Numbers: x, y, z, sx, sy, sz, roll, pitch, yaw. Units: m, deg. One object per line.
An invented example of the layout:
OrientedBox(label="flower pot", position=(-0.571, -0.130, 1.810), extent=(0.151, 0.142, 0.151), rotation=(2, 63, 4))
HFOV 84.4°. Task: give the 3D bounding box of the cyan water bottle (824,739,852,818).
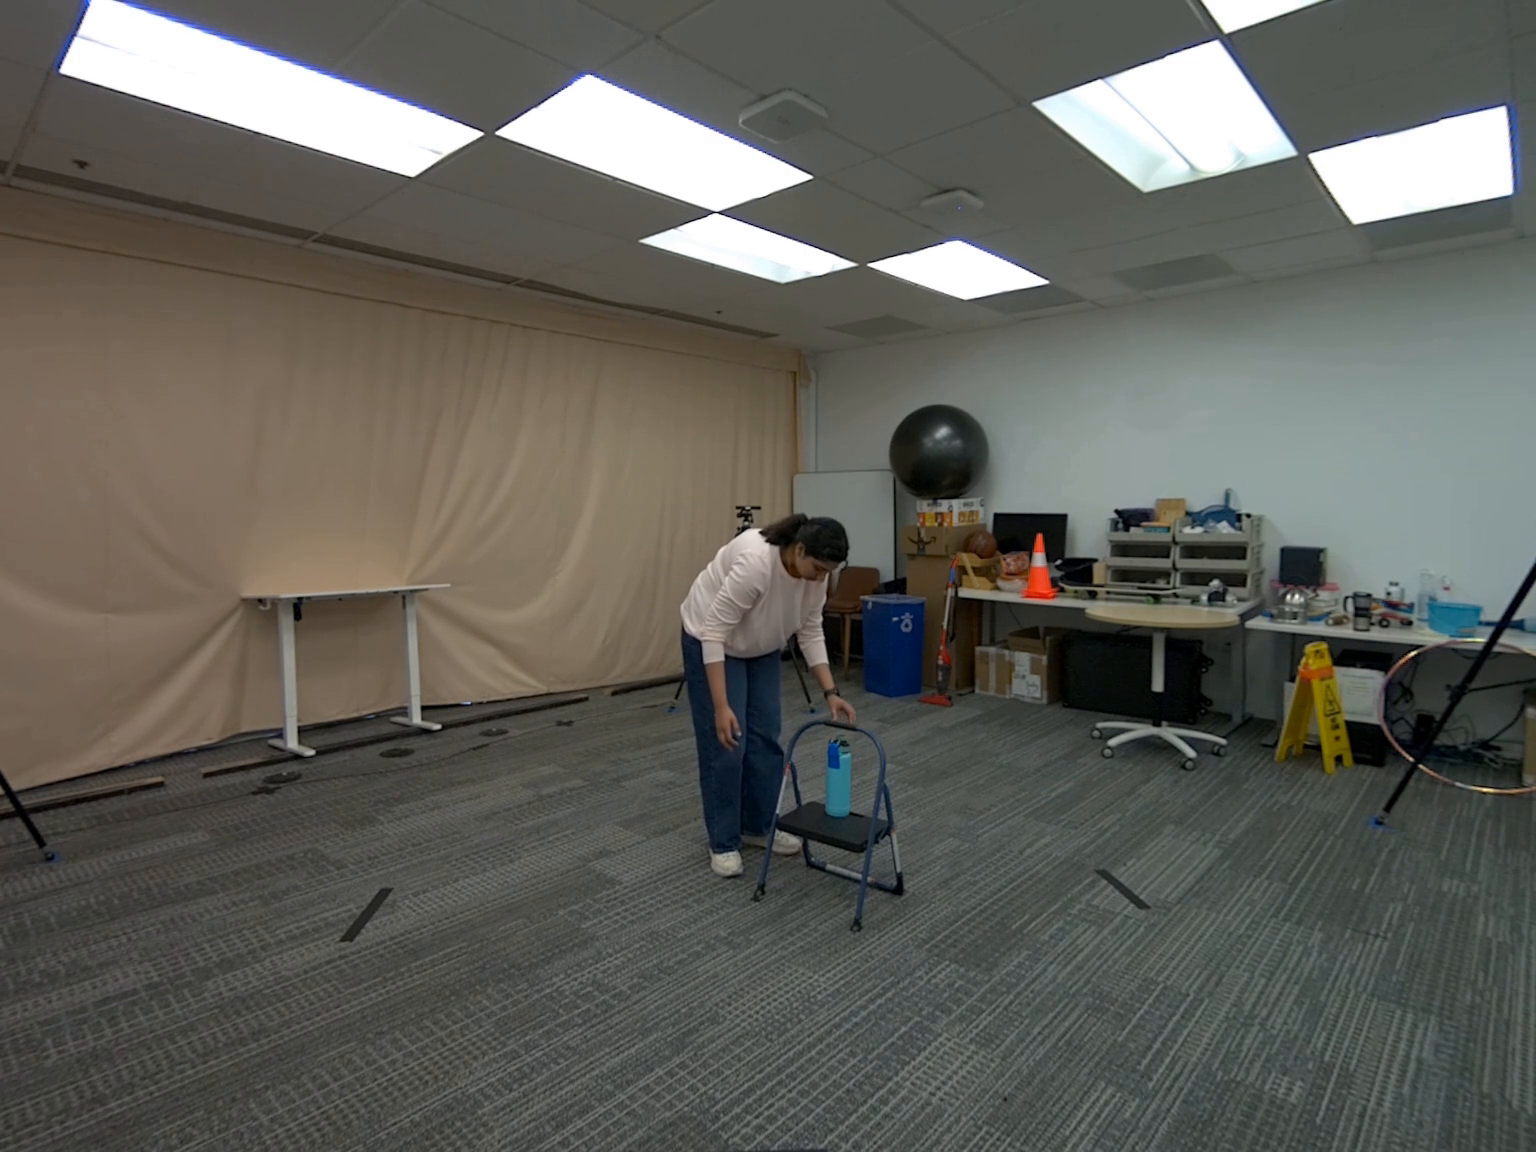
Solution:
OrientedBox(label="cyan water bottle", position=(0.260, 0.736, 3.086), extent=(0.092, 0.283, 0.092), rotation=(1, 2, -2))
